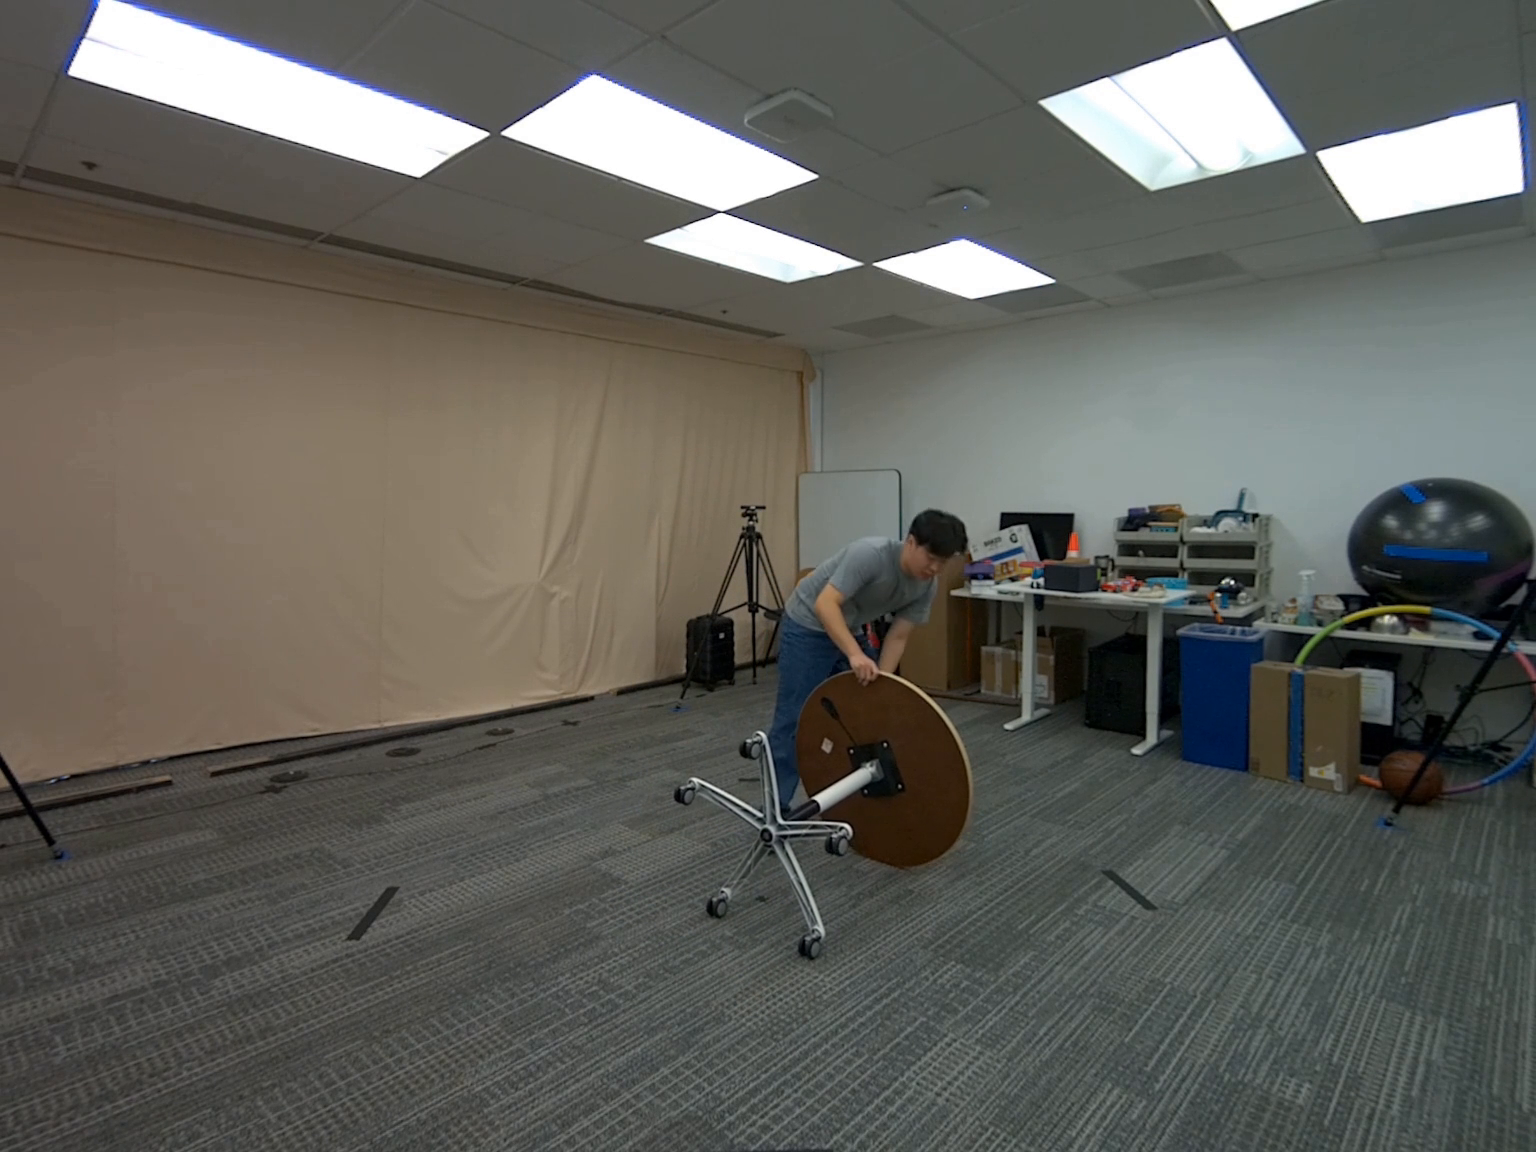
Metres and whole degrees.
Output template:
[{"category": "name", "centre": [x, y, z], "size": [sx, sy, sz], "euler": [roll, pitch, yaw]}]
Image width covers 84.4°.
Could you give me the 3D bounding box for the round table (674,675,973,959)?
[{"category": "round table", "centre": [0.196, 0.800, 2.962], "size": [0.789, 0.760, 0.772], "euler": [3, 11, 40]}]
